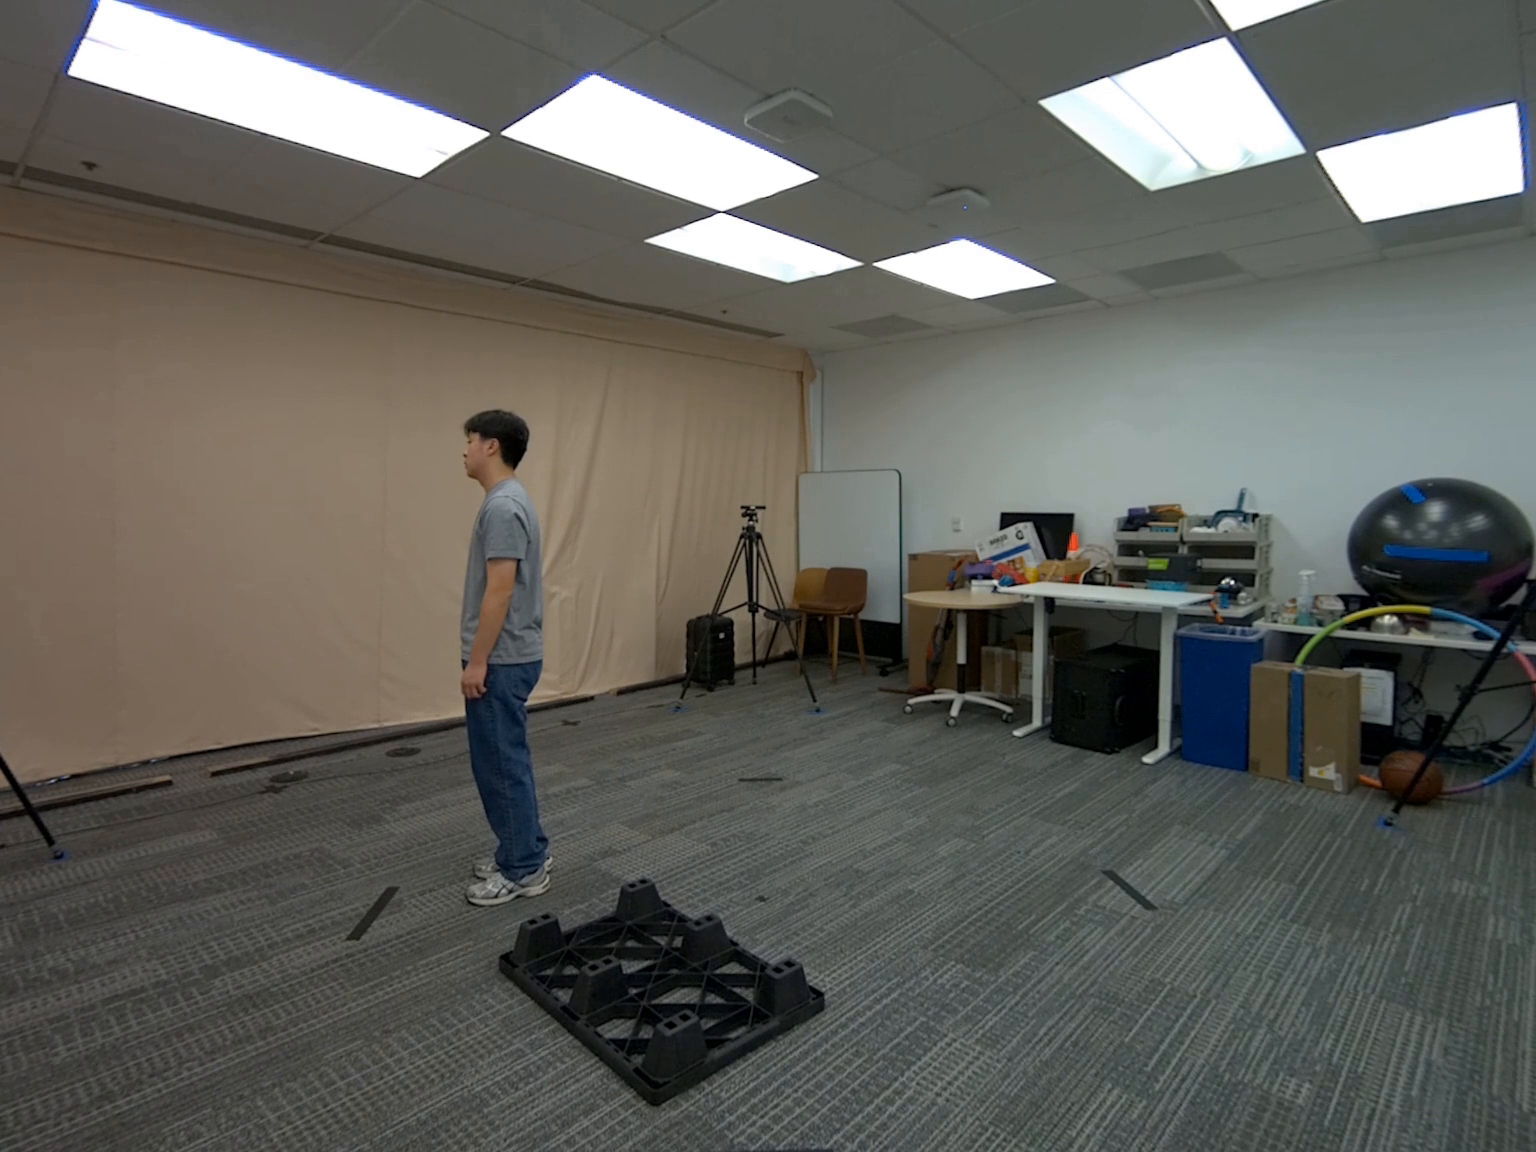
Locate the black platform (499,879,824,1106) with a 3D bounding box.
[{"bbox_3d":[-0.320,1.126,2.430,0.587,0.143,0.833,-5,7,-43],"label":"black platform"}]
